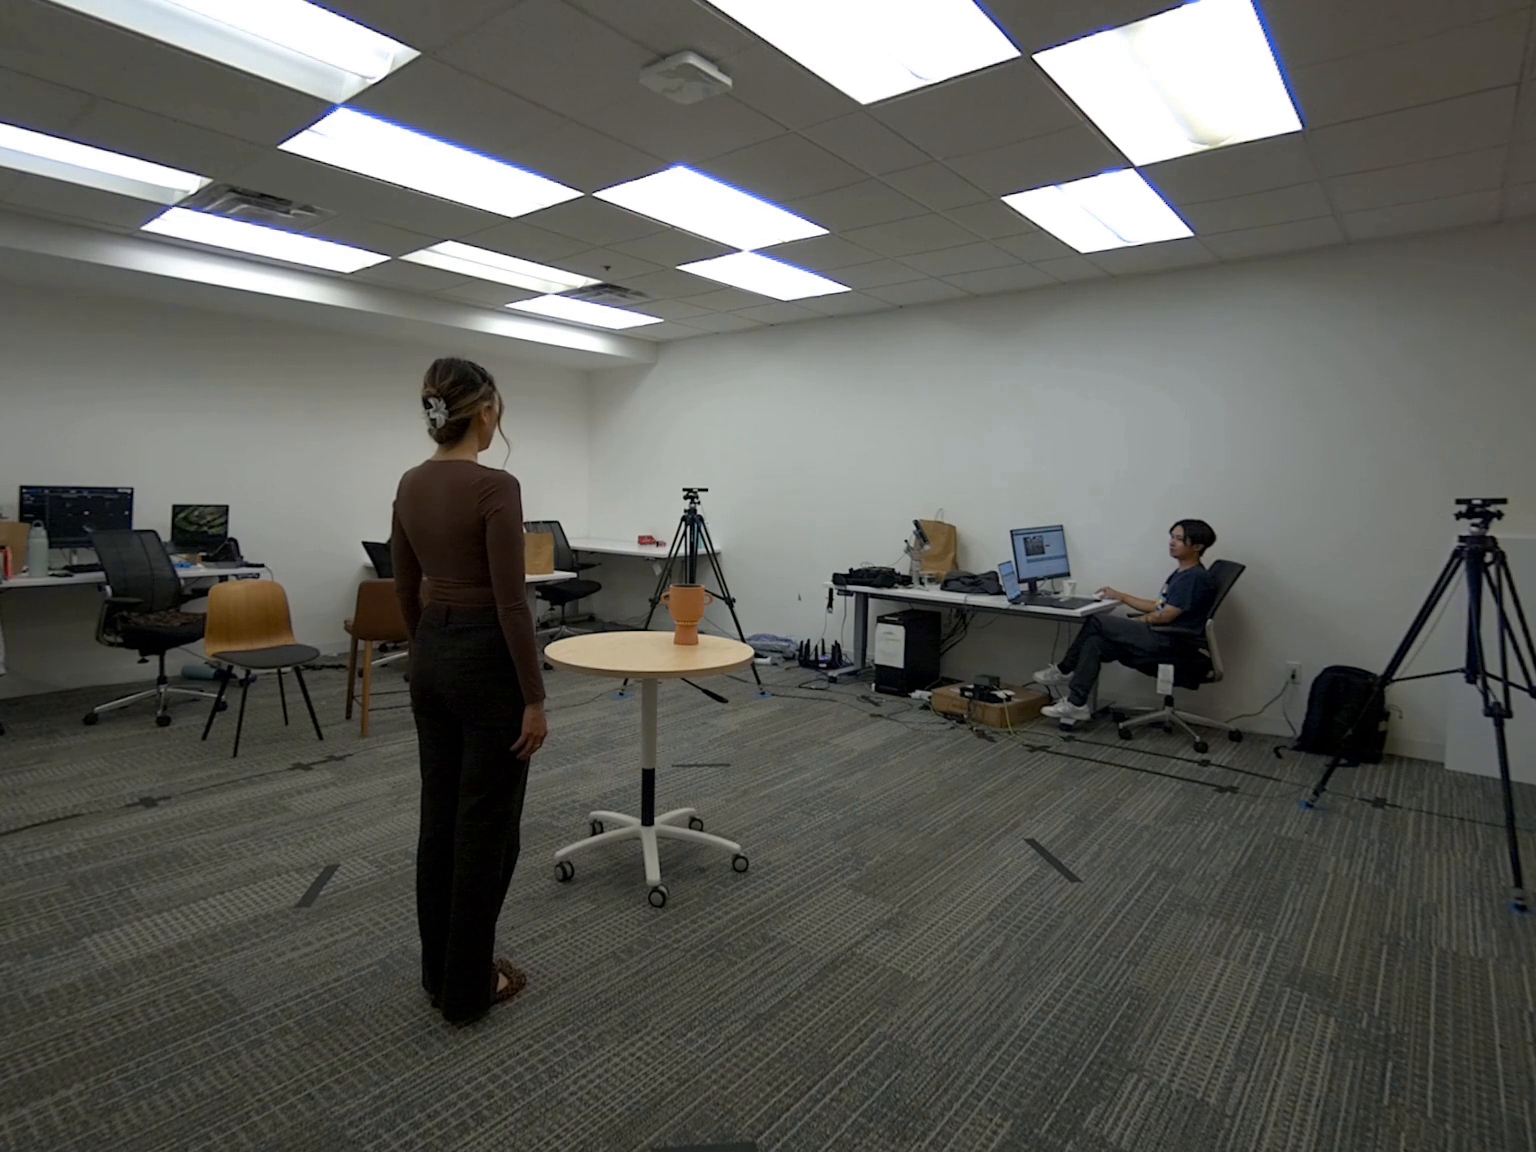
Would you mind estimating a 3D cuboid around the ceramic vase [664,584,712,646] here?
[{"bbox_3d":[-0.321,0.146,3.261,0.163,0.219,0.131,5,4,29],"label":"ceramic vase"}]
